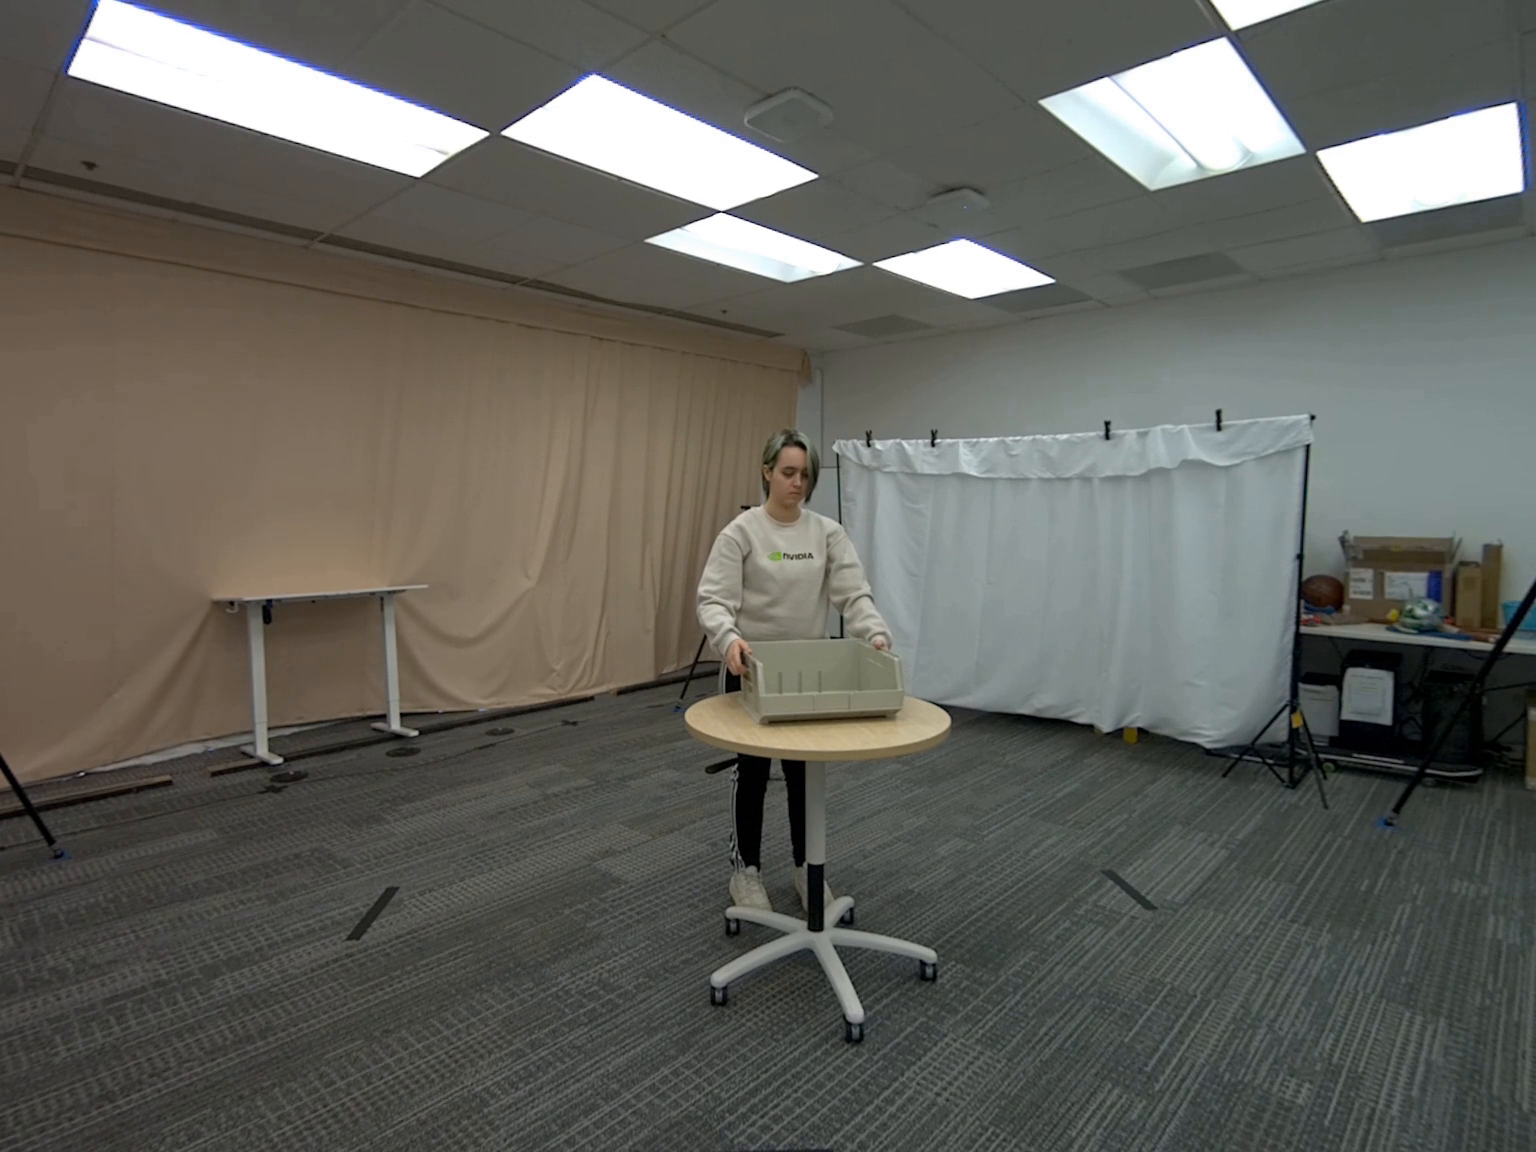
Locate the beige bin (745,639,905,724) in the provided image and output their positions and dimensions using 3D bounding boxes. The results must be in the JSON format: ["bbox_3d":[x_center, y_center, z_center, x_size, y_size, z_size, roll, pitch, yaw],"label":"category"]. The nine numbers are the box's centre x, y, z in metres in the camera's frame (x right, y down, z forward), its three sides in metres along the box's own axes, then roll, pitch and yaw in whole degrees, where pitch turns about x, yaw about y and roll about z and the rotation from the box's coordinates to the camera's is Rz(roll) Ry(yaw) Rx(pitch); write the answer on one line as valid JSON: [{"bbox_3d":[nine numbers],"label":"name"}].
[{"bbox_3d":[0.139,0.308,2.508,0.418,0.188,0.382,-3,4,-11],"label":"beige bin"}]
